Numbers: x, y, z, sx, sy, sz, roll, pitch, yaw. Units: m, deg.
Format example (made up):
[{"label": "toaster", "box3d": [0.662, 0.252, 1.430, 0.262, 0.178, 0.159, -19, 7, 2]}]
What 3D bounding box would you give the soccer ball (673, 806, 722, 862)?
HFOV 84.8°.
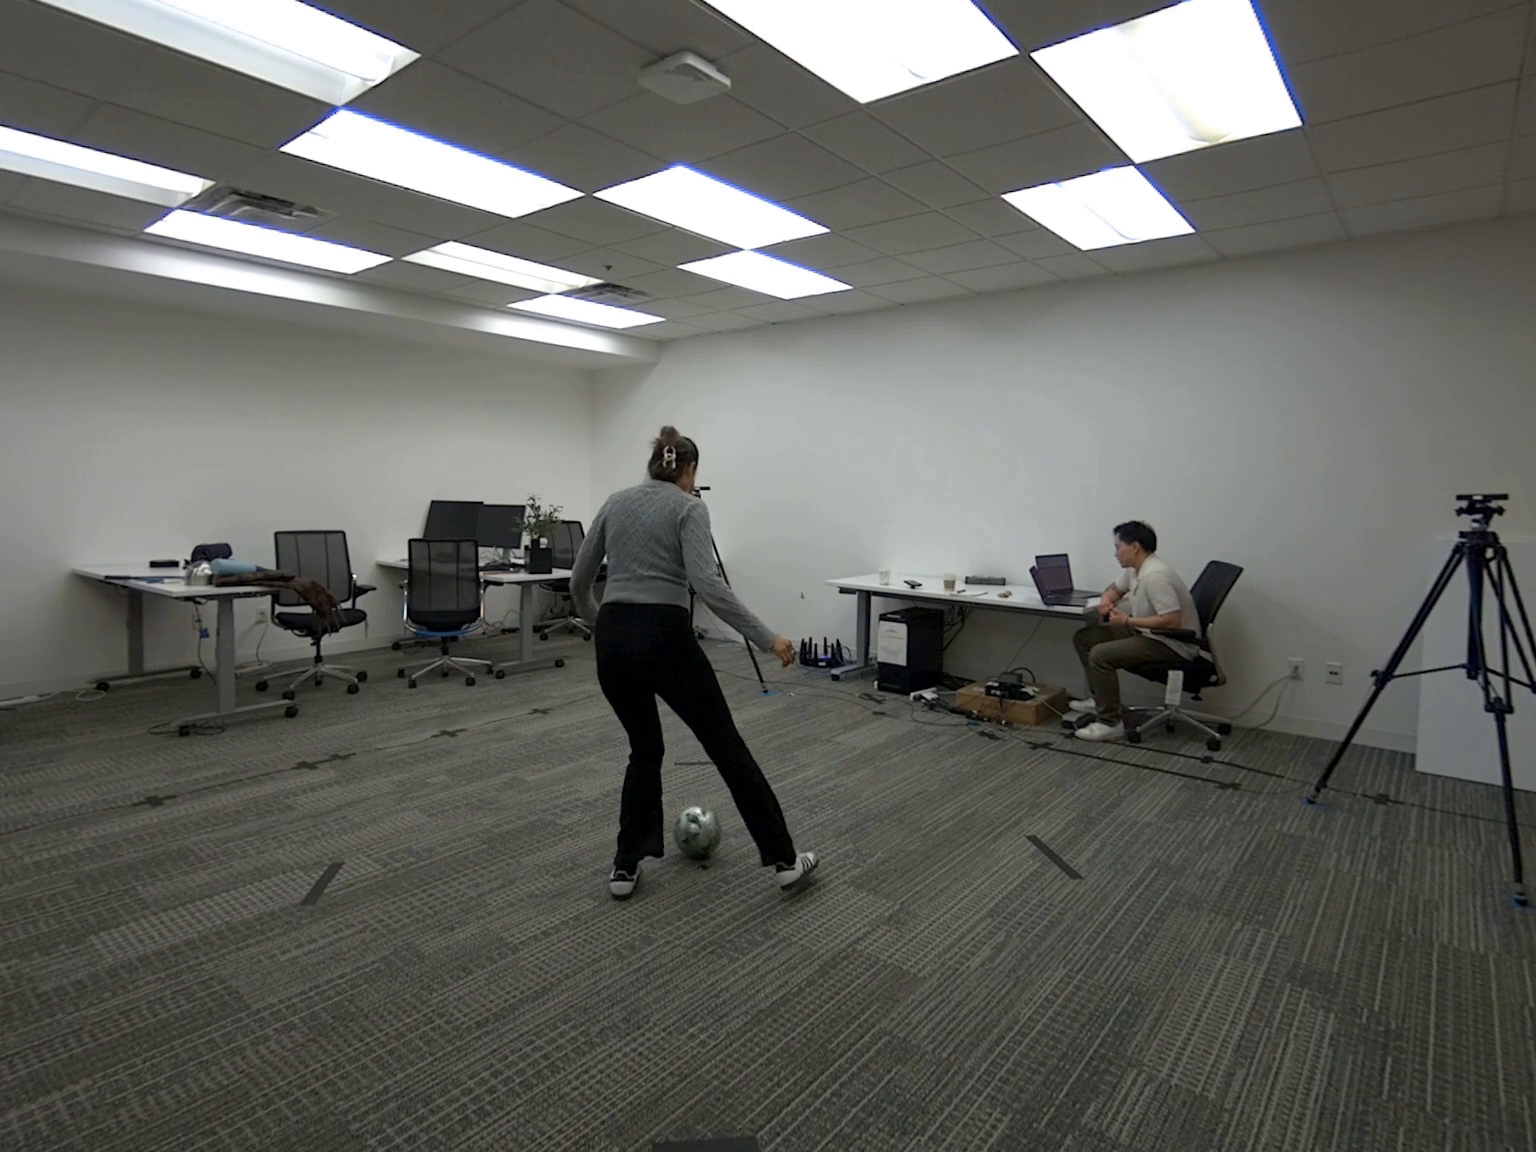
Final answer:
[{"label": "soccer ball", "box3d": [-0.282, 0.959, 3.205, 0.187, 0.187, 0.188, 1, 4, -2]}]
